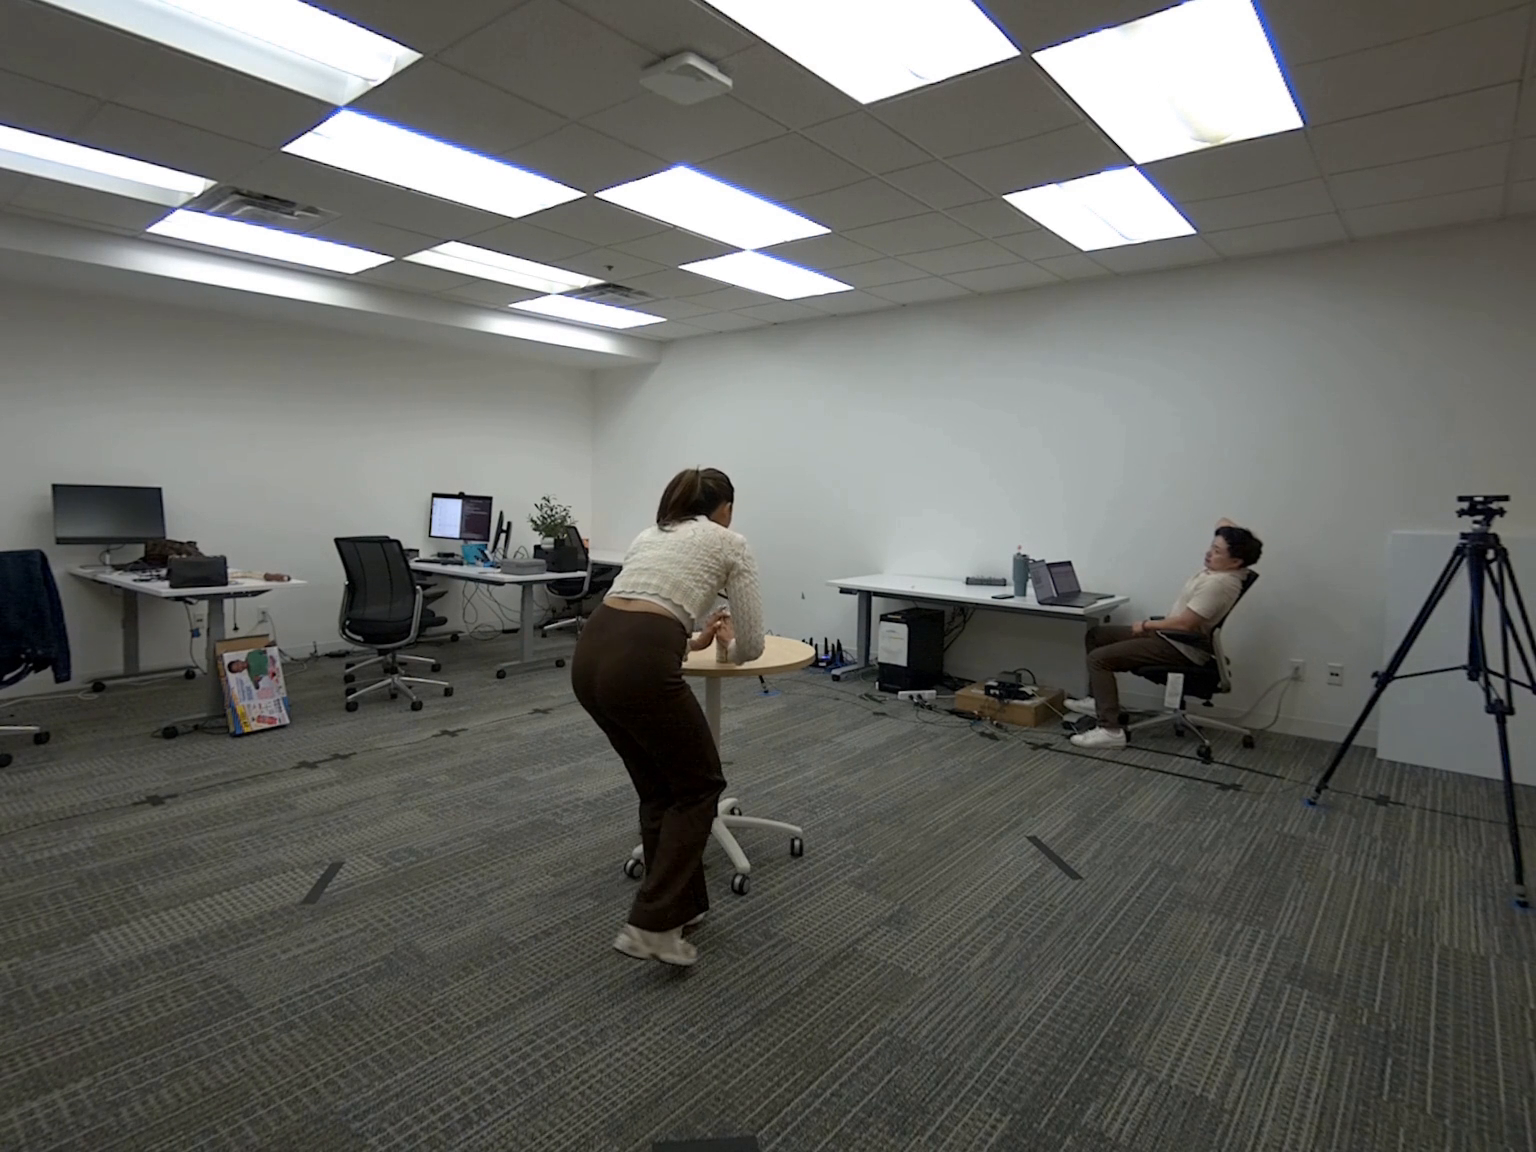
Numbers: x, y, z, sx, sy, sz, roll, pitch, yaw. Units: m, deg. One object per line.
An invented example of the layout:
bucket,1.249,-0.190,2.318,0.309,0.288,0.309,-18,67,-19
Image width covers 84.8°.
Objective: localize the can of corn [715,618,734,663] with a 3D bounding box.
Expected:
can of corn,-0.156,0.241,2.978,0.074,0.111,0.074,1,4,-2
